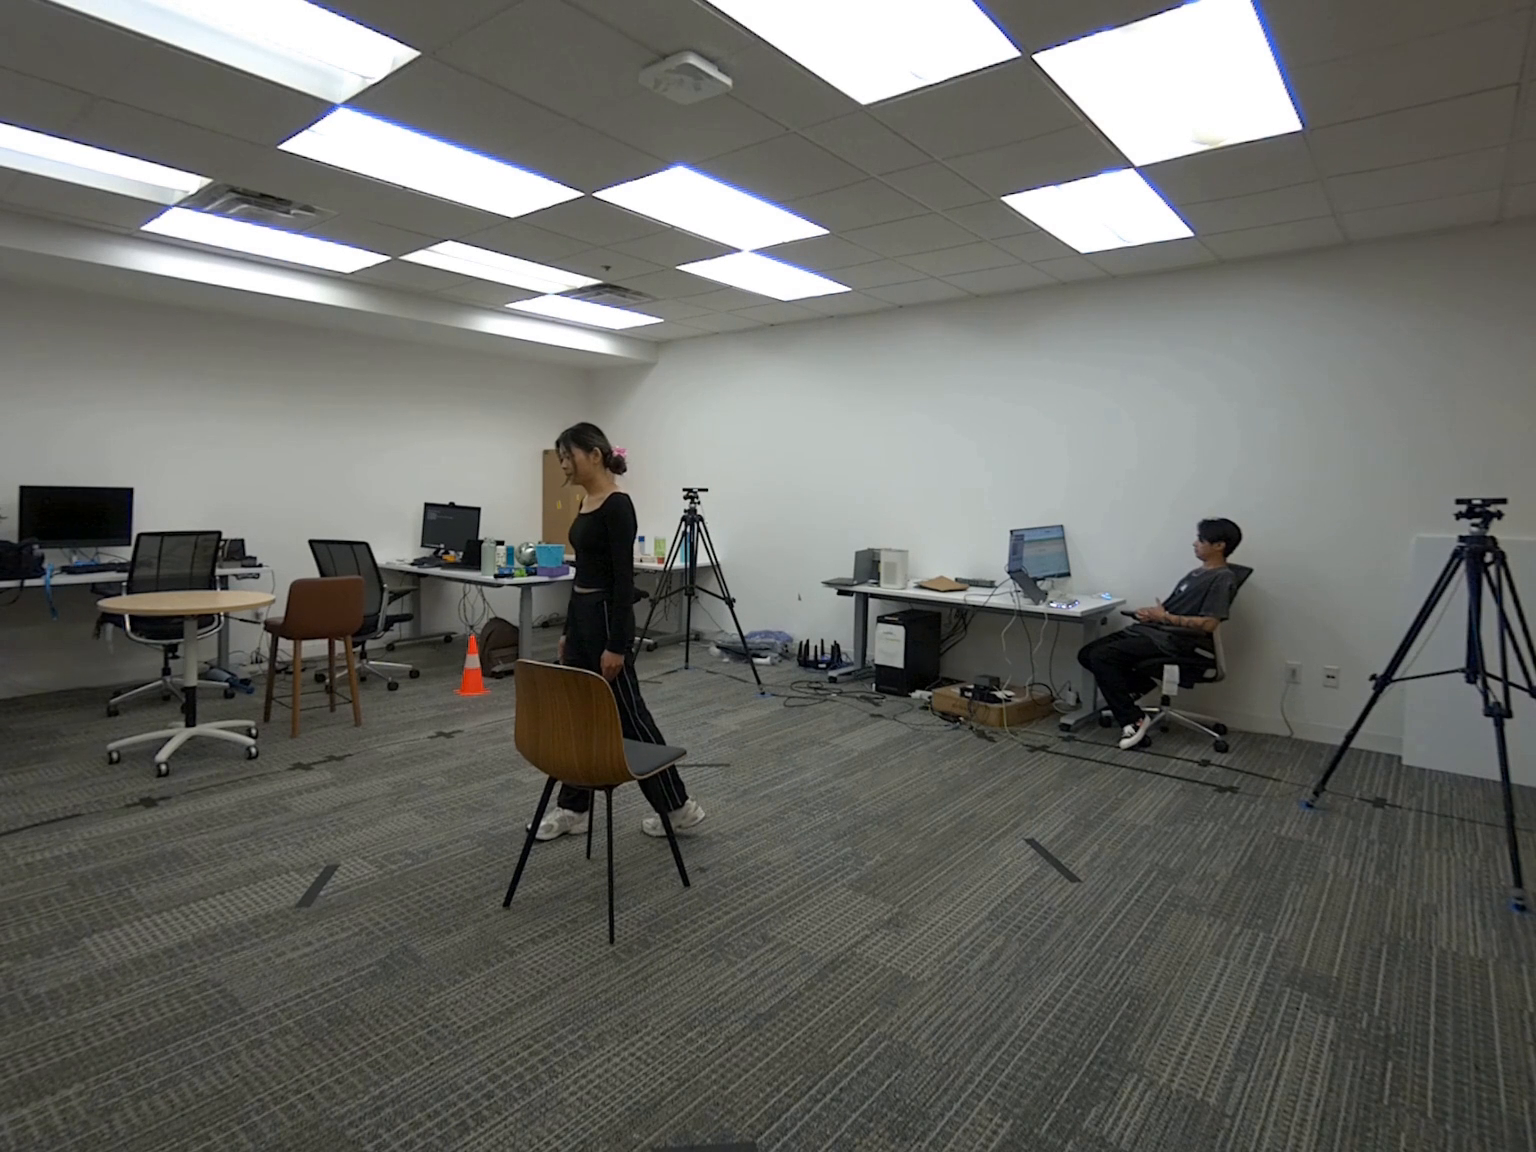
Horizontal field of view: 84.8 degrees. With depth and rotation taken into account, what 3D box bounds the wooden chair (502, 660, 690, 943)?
[{"bbox_3d":[-0.569,0.659,2.868,0.491,0.872,0.512,2,8,28],"label":"wooden chair"}]
